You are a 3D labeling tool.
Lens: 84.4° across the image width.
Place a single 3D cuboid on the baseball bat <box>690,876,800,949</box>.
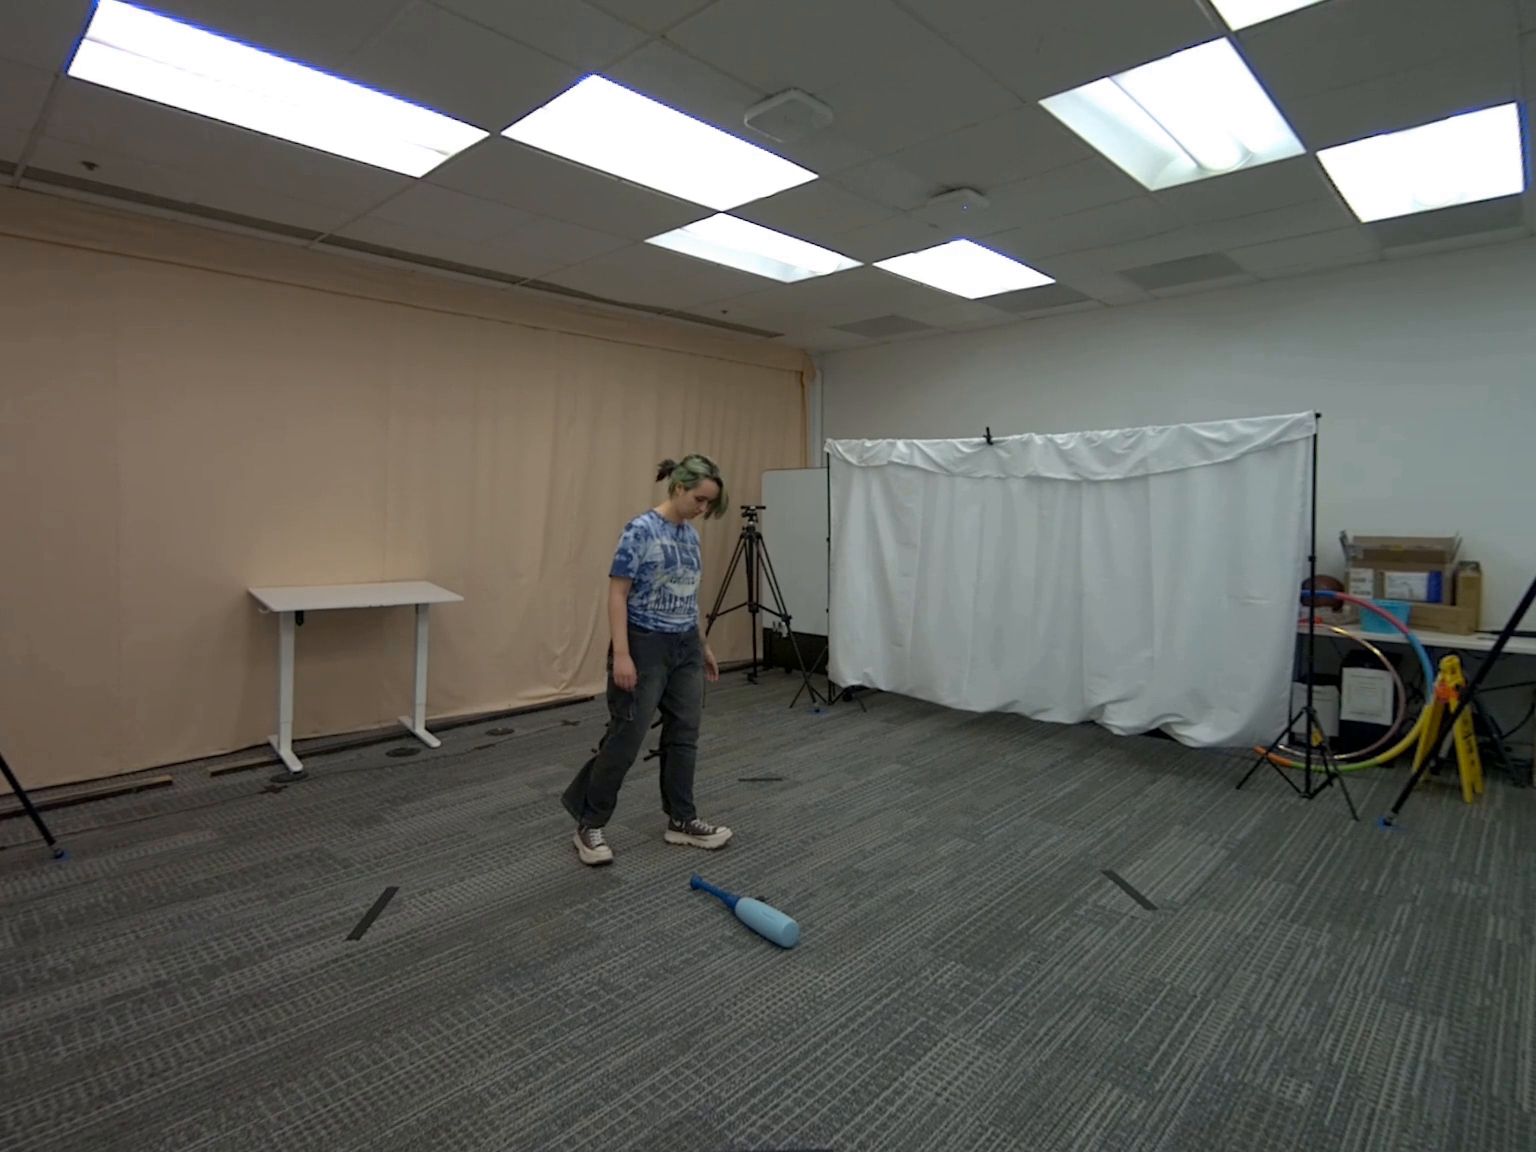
[{"bbox_3d":[-0.096,1.122,2.851,0.086,0.089,0.560,-3,2,-37],"label":"baseball bat"}]
